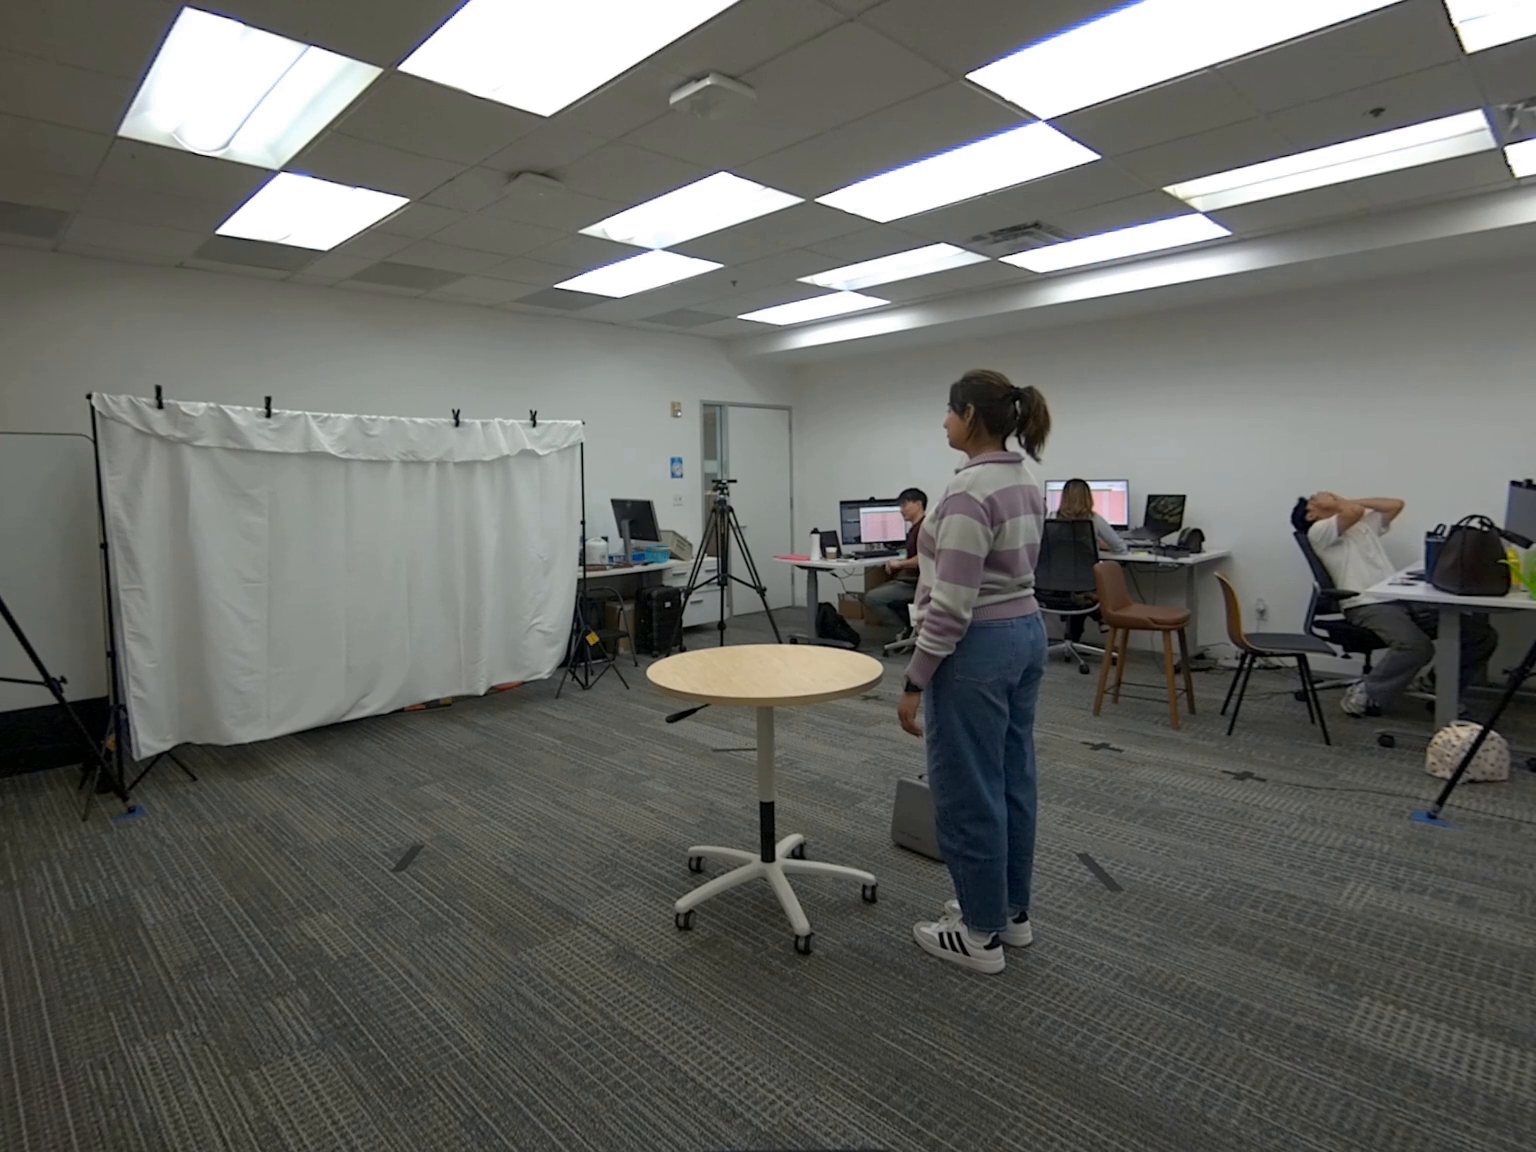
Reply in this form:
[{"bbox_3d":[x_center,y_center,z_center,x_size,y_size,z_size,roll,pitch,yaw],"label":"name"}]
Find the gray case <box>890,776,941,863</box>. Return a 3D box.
[{"bbox_3d":[0.596,0.895,3.191,0.101,0.261,0.265,9,-2,-40],"label":"gray case"}]
